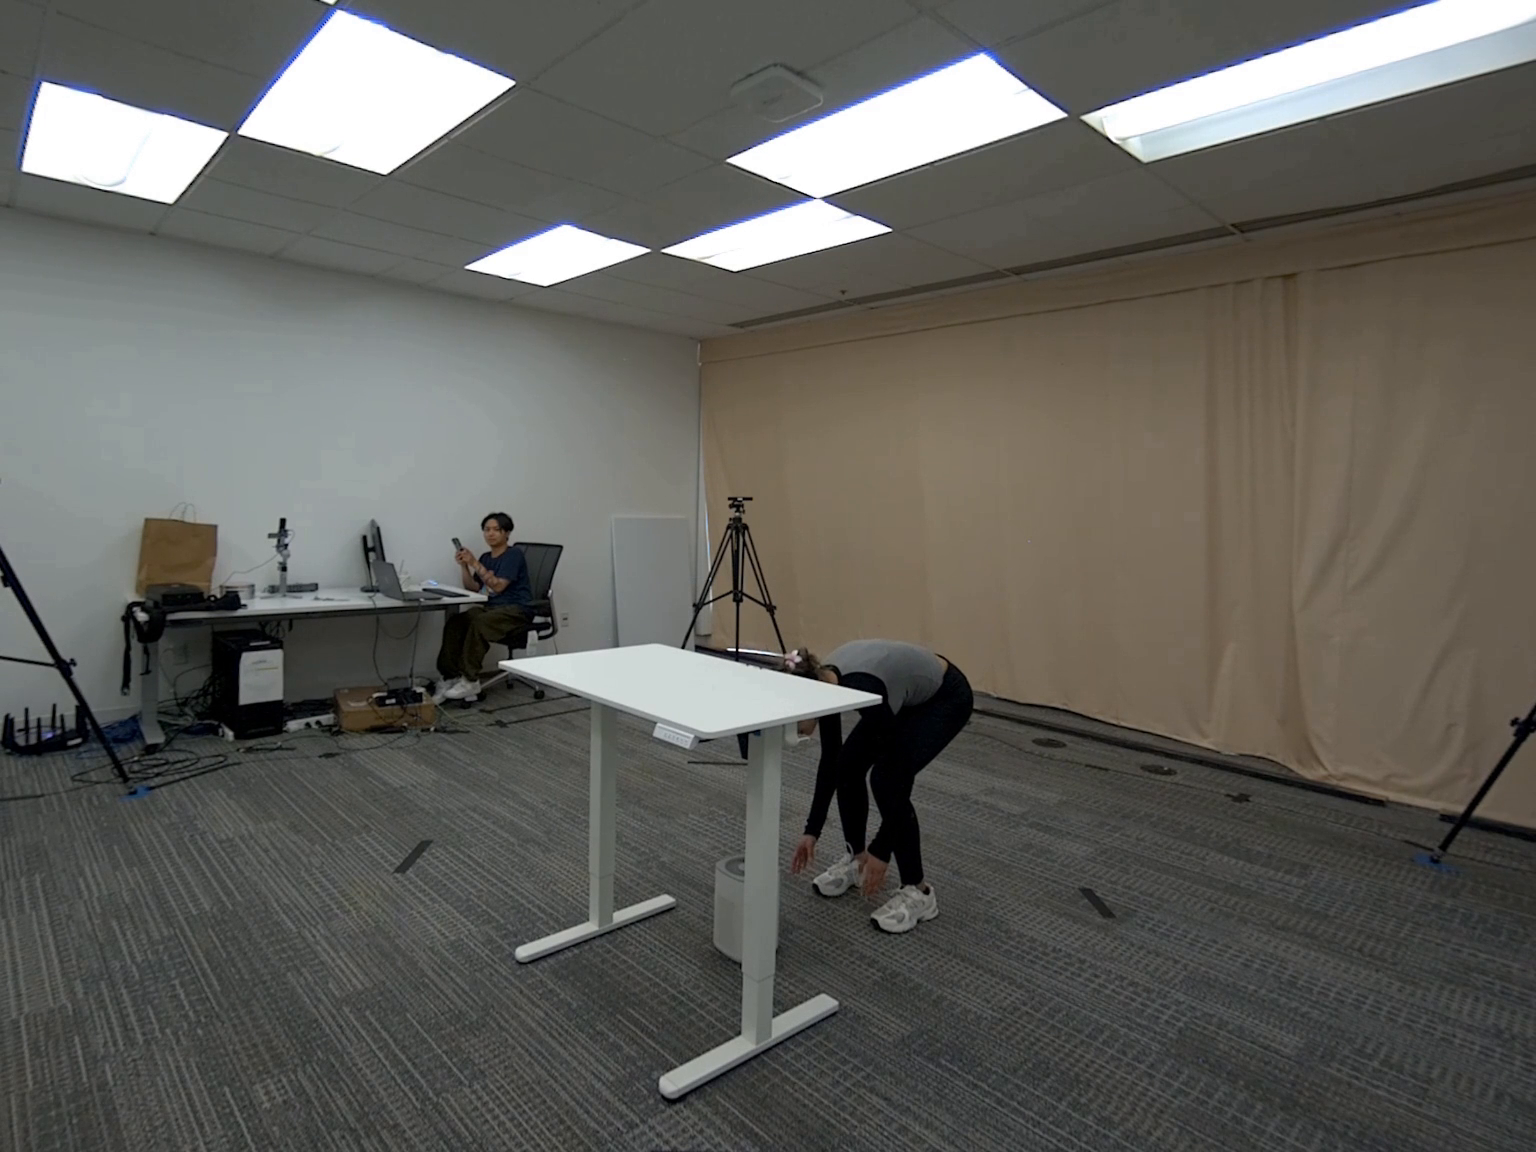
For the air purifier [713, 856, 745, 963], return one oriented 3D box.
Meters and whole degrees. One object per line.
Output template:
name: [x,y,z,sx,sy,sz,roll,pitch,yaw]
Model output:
air purifier: [-0.064,1.021,2.586,0.167,0.264,0.176,-3,6,-45]
